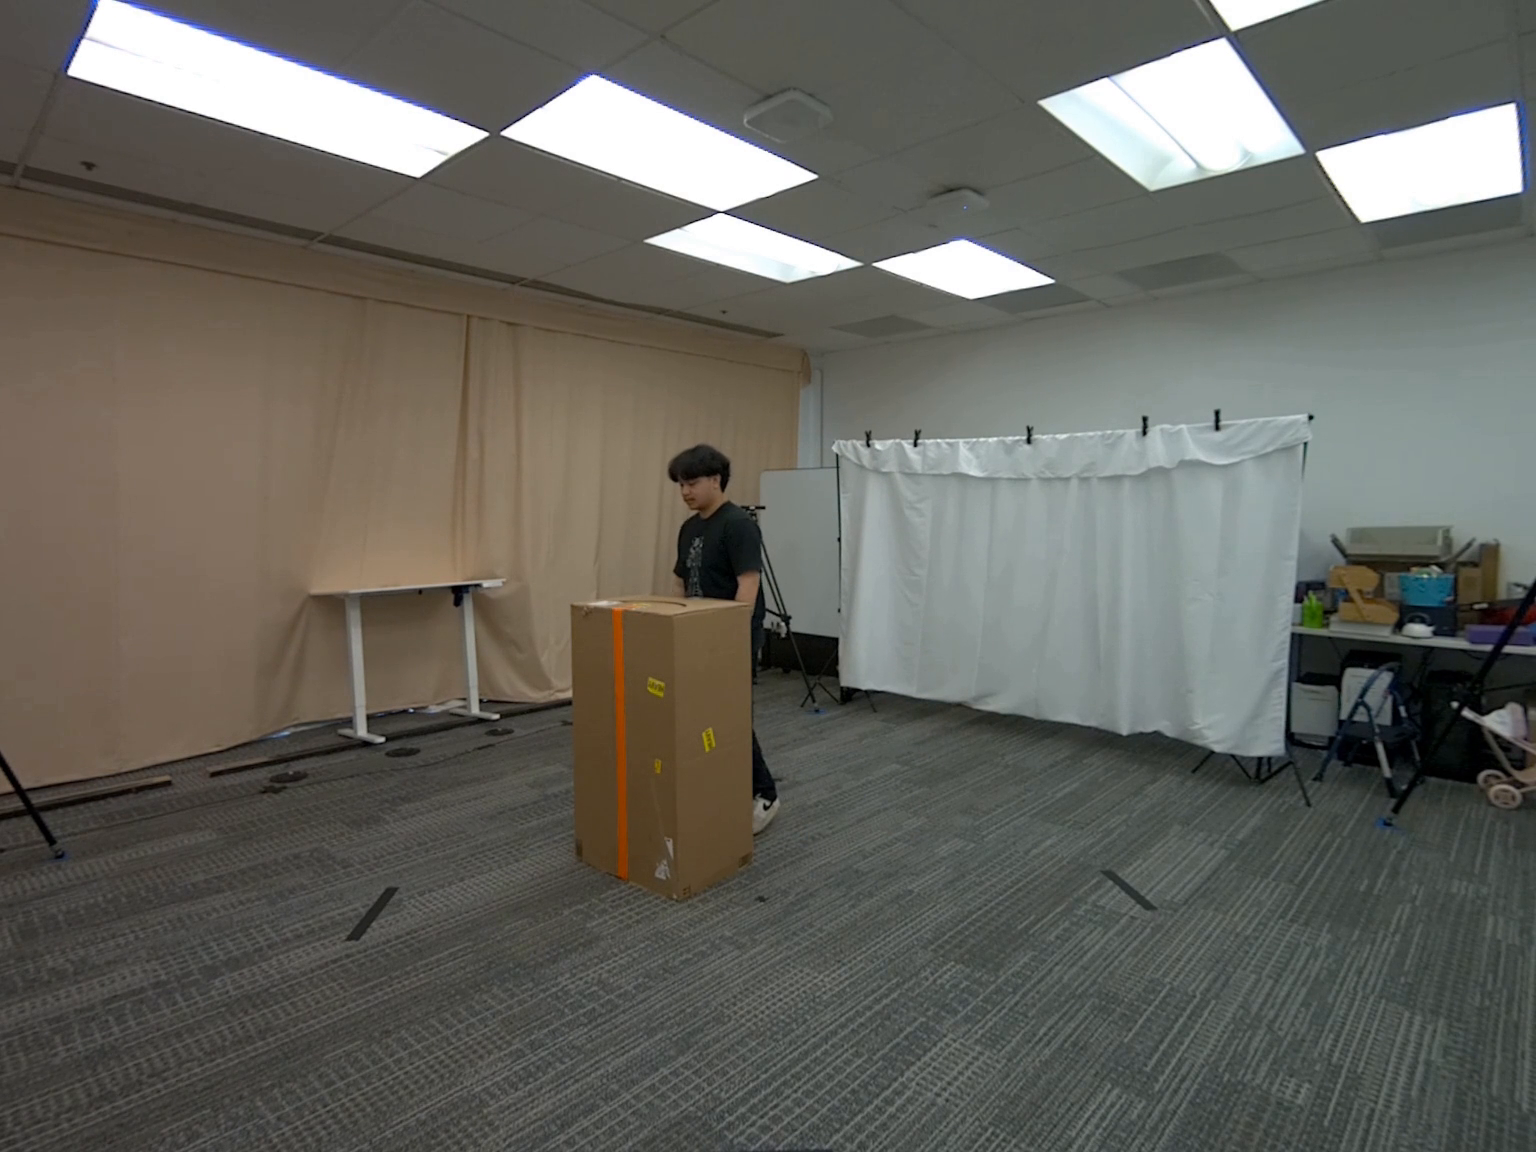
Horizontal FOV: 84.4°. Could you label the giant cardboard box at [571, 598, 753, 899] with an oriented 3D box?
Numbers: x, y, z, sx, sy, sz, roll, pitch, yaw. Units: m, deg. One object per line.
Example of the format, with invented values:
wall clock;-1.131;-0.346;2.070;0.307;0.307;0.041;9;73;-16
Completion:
giant cardboard box;-0.417;0.613;3.280;0.603;1.025;0.433;2;5;41
